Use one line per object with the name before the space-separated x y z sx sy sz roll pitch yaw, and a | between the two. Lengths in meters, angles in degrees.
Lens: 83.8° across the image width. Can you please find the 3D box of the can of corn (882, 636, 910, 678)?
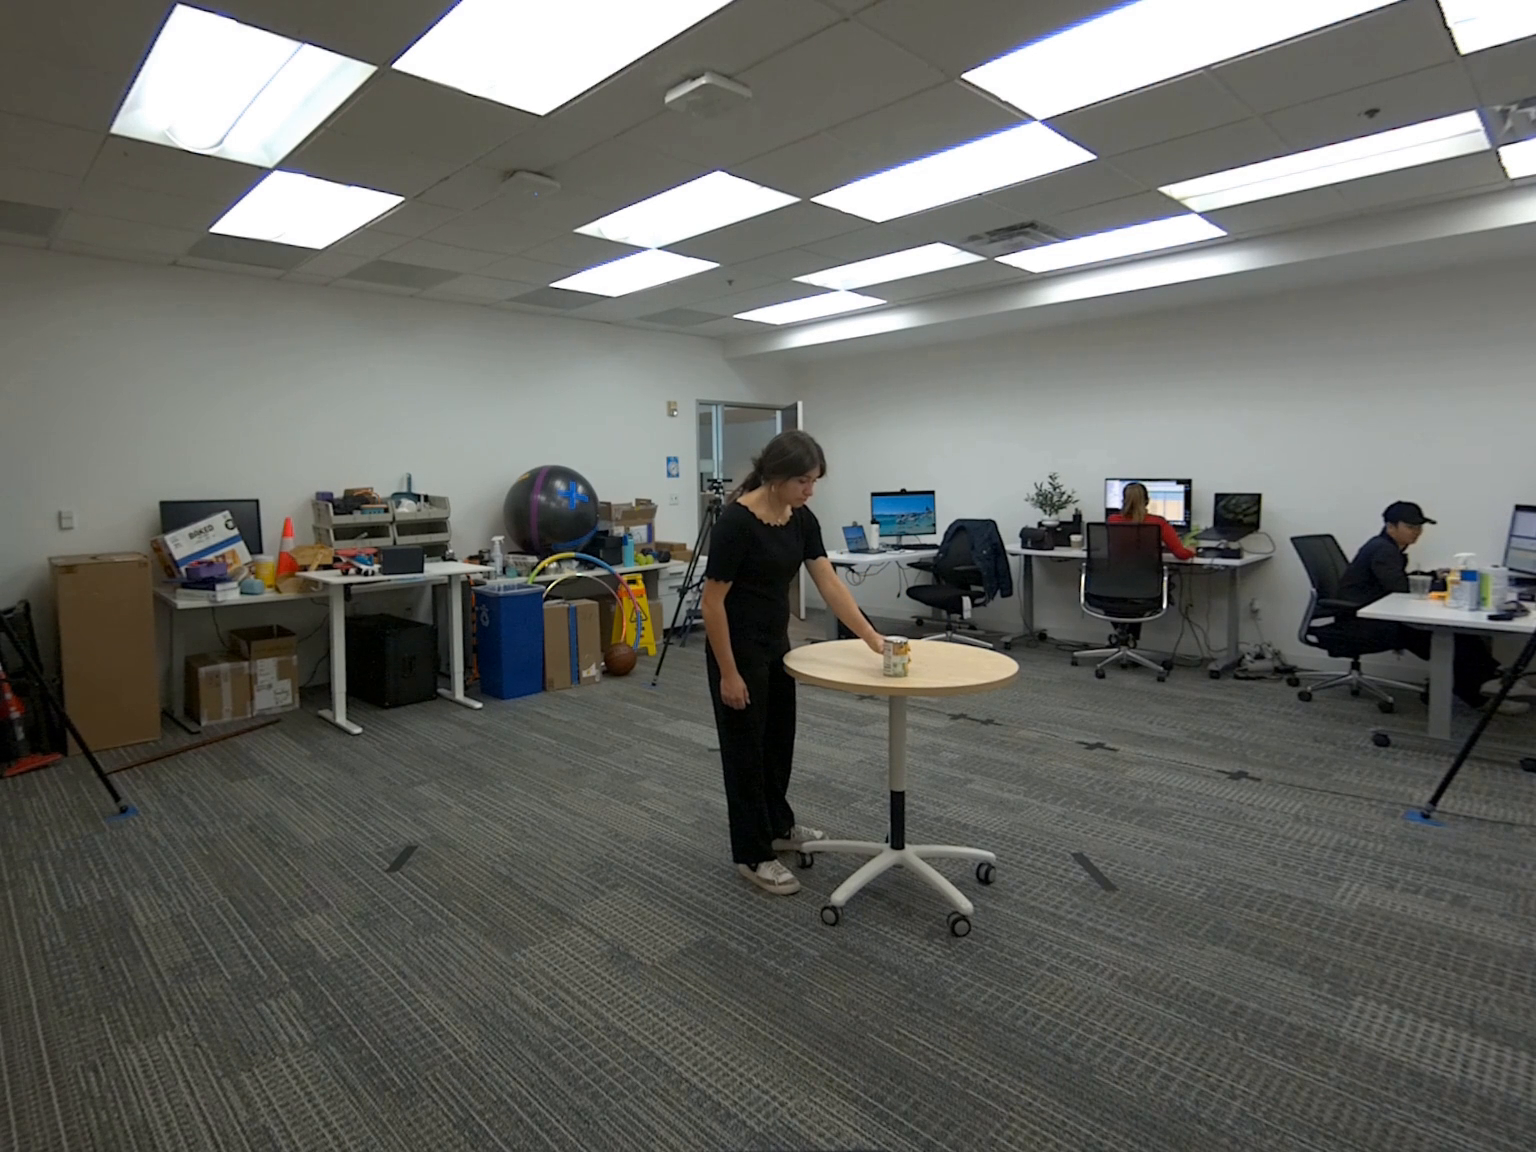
can of corn | 0.383 0.253 2.638 0.074 0.111 0.074 -3 3 -2
